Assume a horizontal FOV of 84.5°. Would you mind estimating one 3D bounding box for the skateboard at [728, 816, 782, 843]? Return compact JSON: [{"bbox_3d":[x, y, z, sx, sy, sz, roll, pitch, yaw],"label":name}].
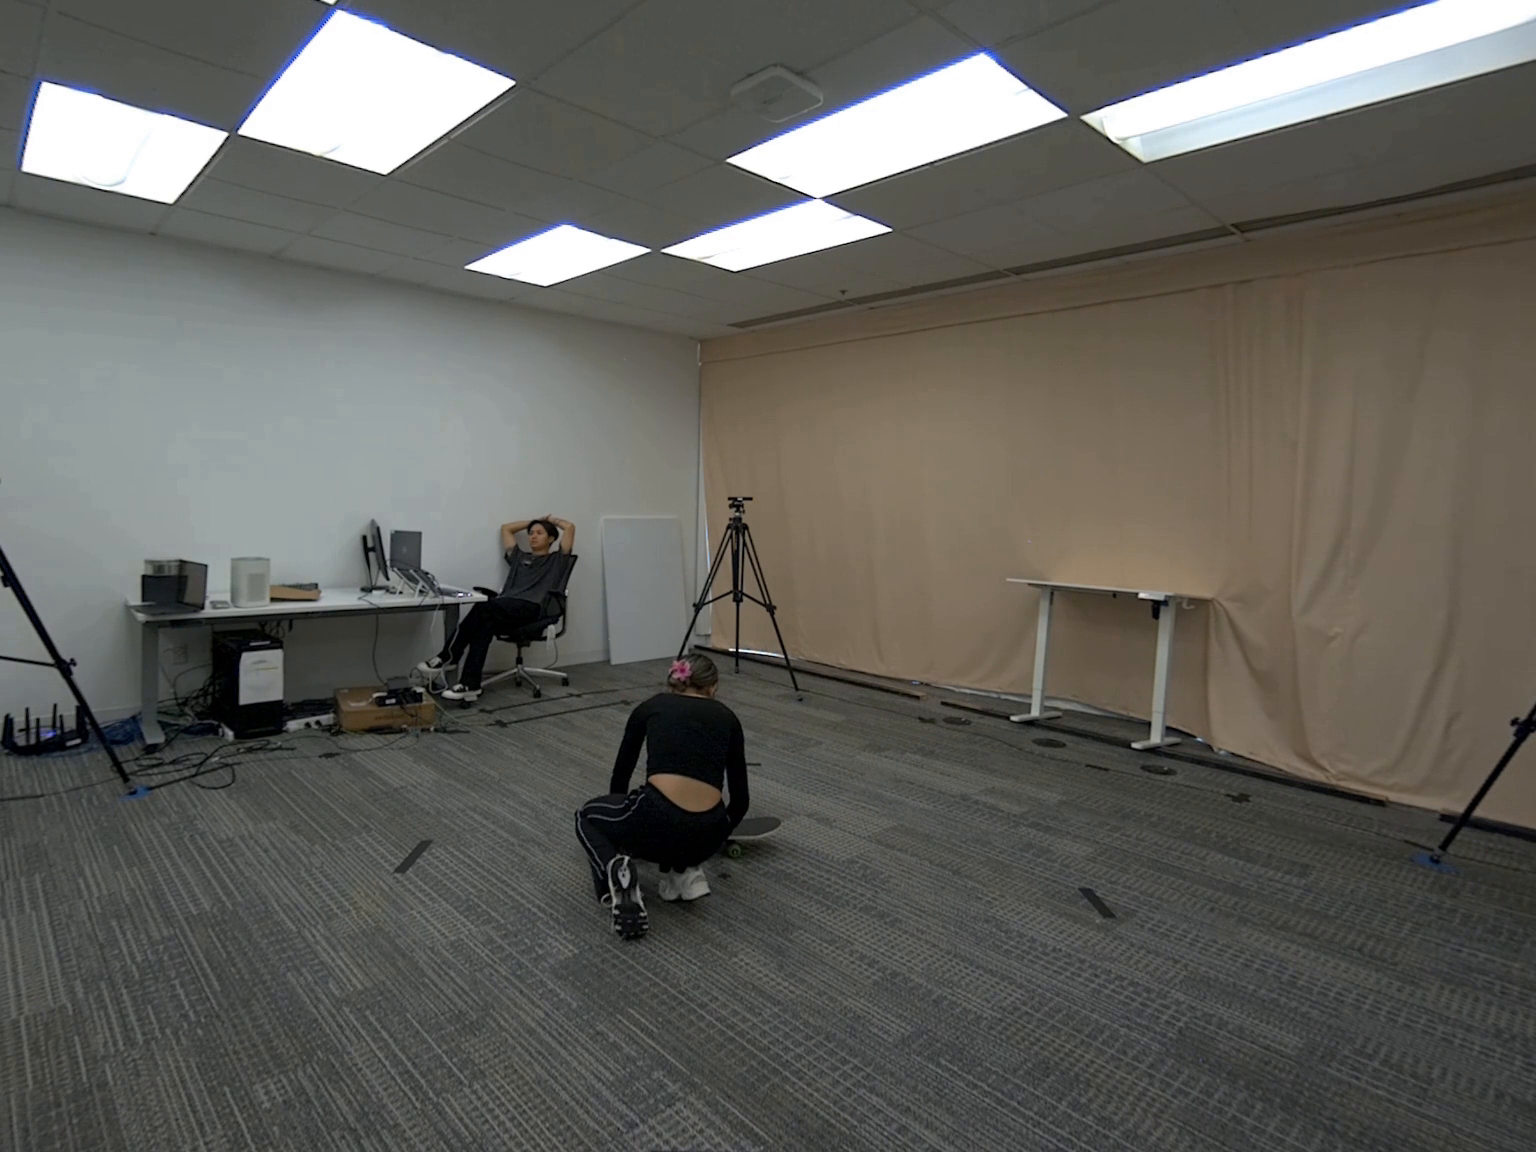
[{"bbox_3d":[-0.340,1.026,3.324,0.782,0.110,0.195,1,5,-5],"label":"skateboard"}]
